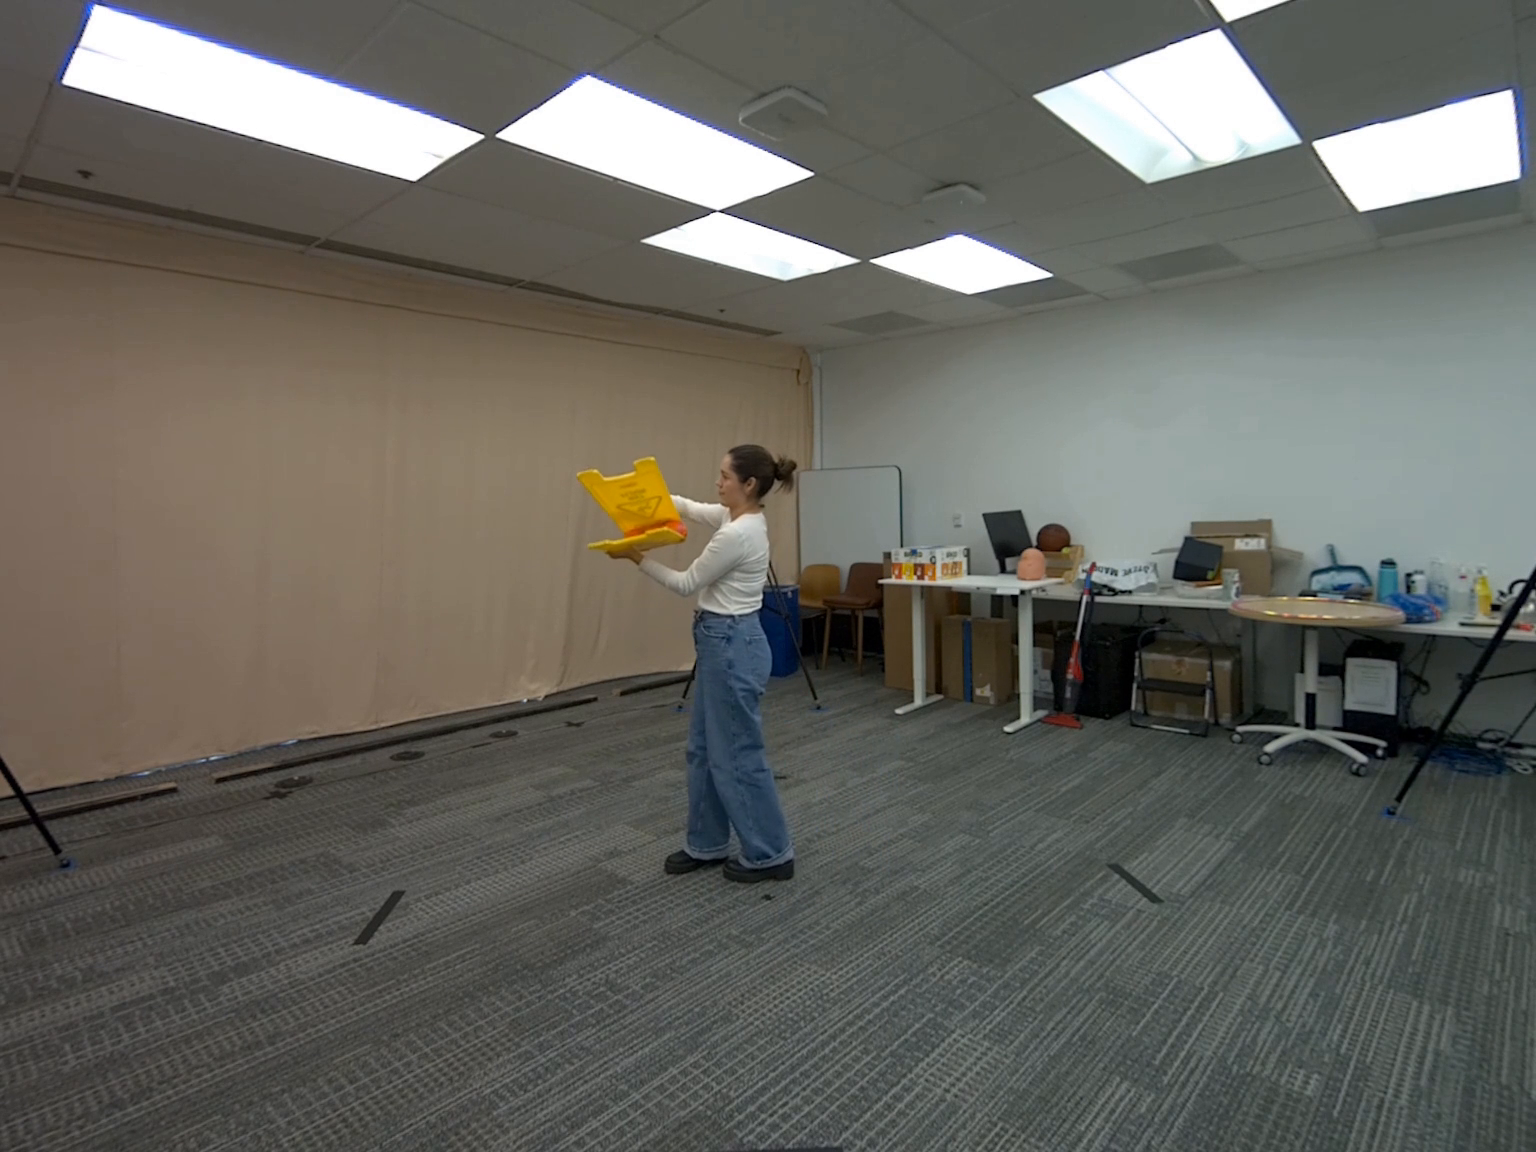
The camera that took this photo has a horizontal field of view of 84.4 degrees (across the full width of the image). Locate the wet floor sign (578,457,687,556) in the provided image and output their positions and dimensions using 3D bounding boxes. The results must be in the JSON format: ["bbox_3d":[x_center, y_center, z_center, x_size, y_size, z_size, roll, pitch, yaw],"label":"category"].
[{"bbox_3d":[-0.460,-0.177,3.138,0.284,0.293,0.635,-12,-13,5],"label":"wet floor sign"}]
